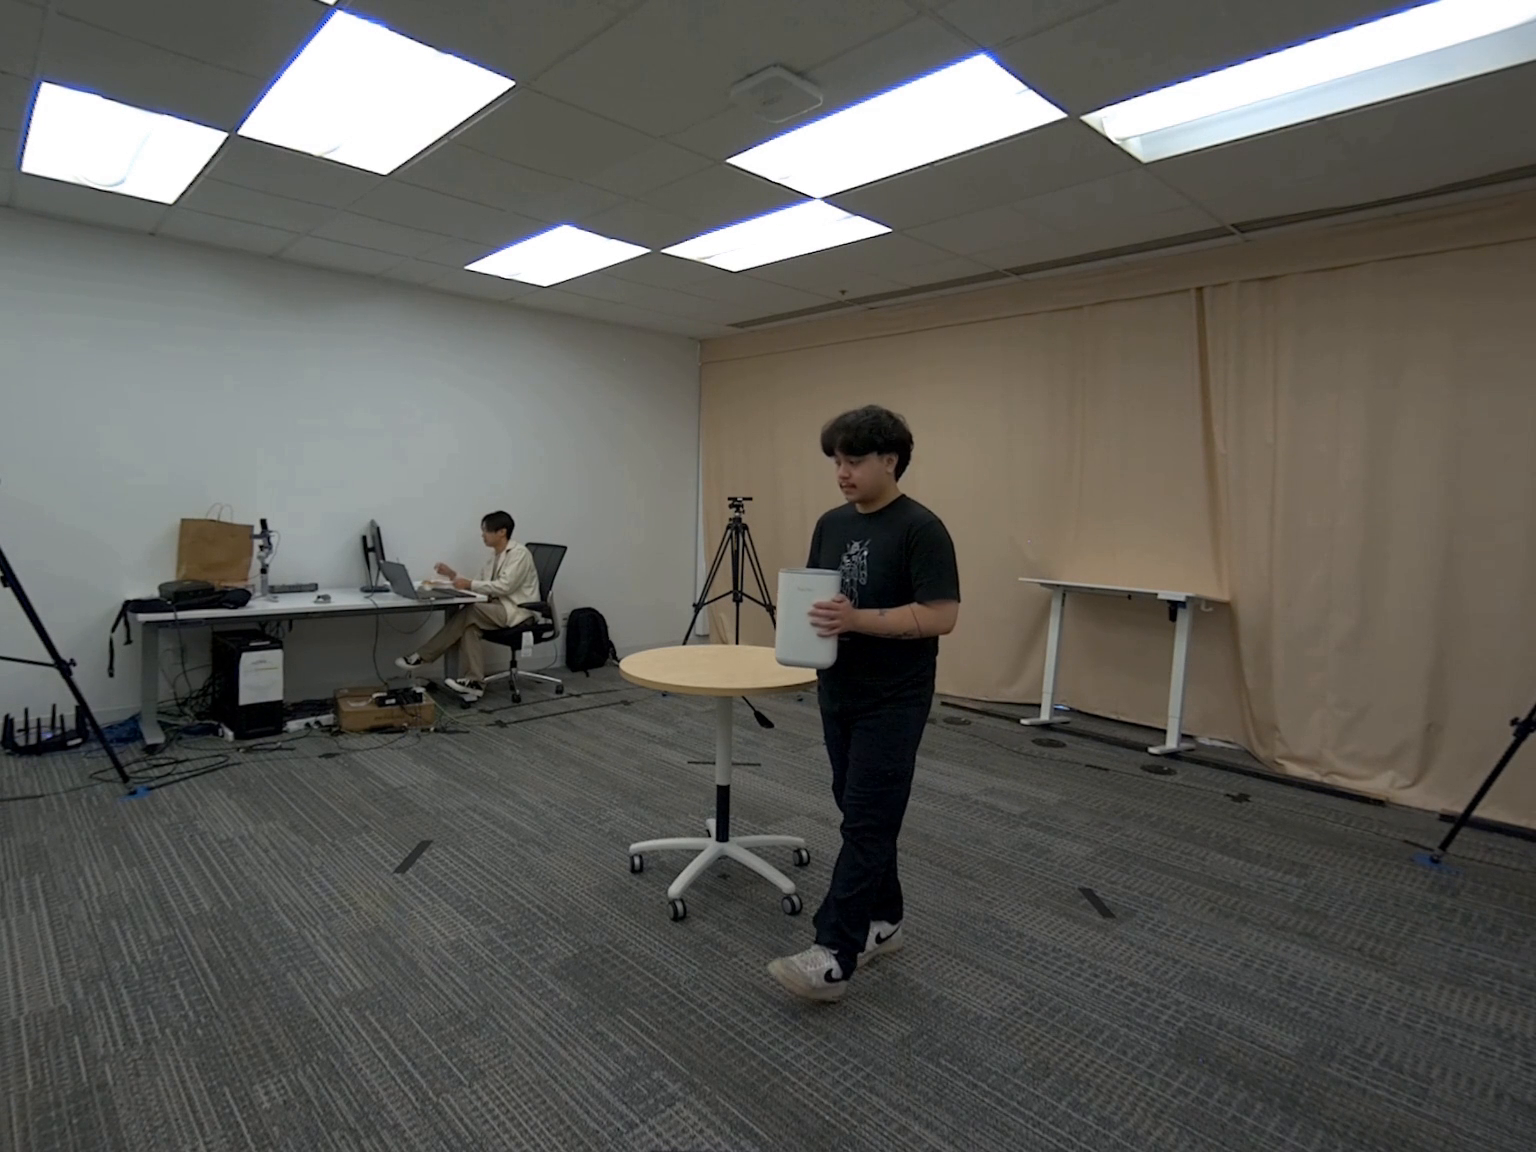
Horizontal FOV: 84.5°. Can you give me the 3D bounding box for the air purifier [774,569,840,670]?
[{"bbox_3d":[0.112,0.122,2.349,0.173,0.265,0.170,4,3,13],"label":"air purifier"}]
